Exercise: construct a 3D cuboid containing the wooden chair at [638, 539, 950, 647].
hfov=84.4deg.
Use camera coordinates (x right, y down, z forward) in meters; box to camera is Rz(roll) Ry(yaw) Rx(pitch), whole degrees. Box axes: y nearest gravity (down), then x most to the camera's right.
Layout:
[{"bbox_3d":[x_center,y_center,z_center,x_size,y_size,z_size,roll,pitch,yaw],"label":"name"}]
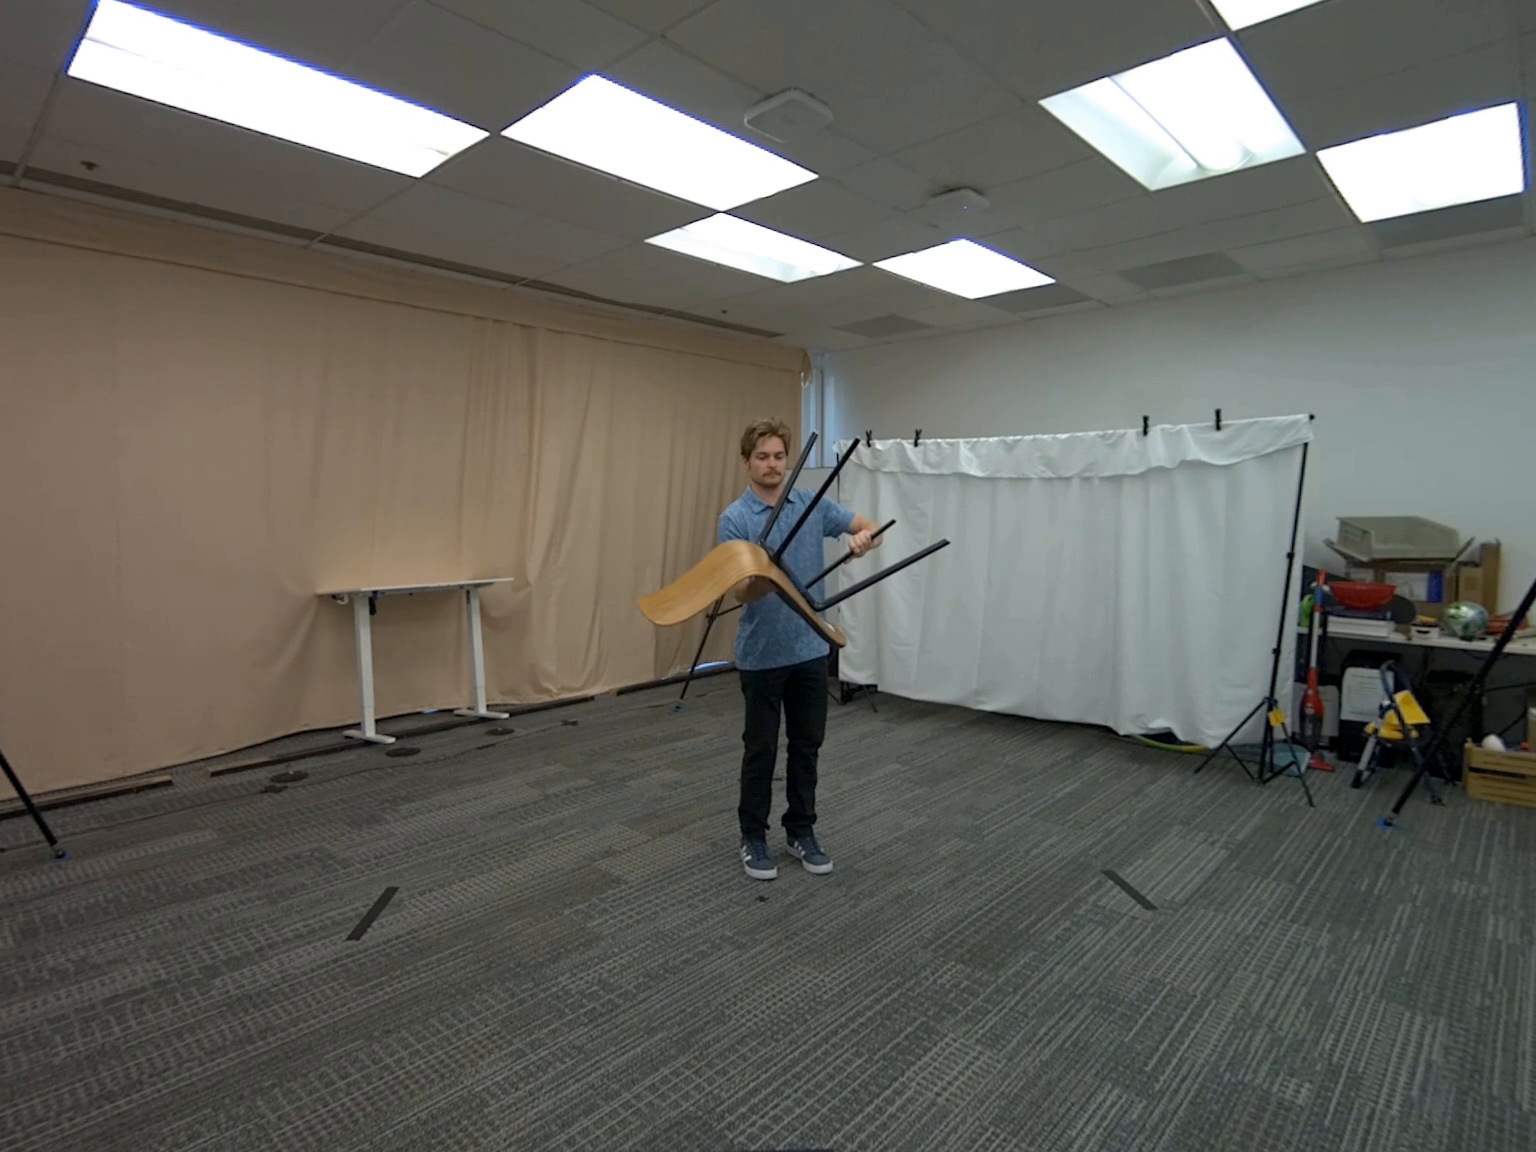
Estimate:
[{"bbox_3d":[0.072,0.003,2.780,0.876,0.514,0.487,-41,16,-2],"label":"wooden chair"}]
